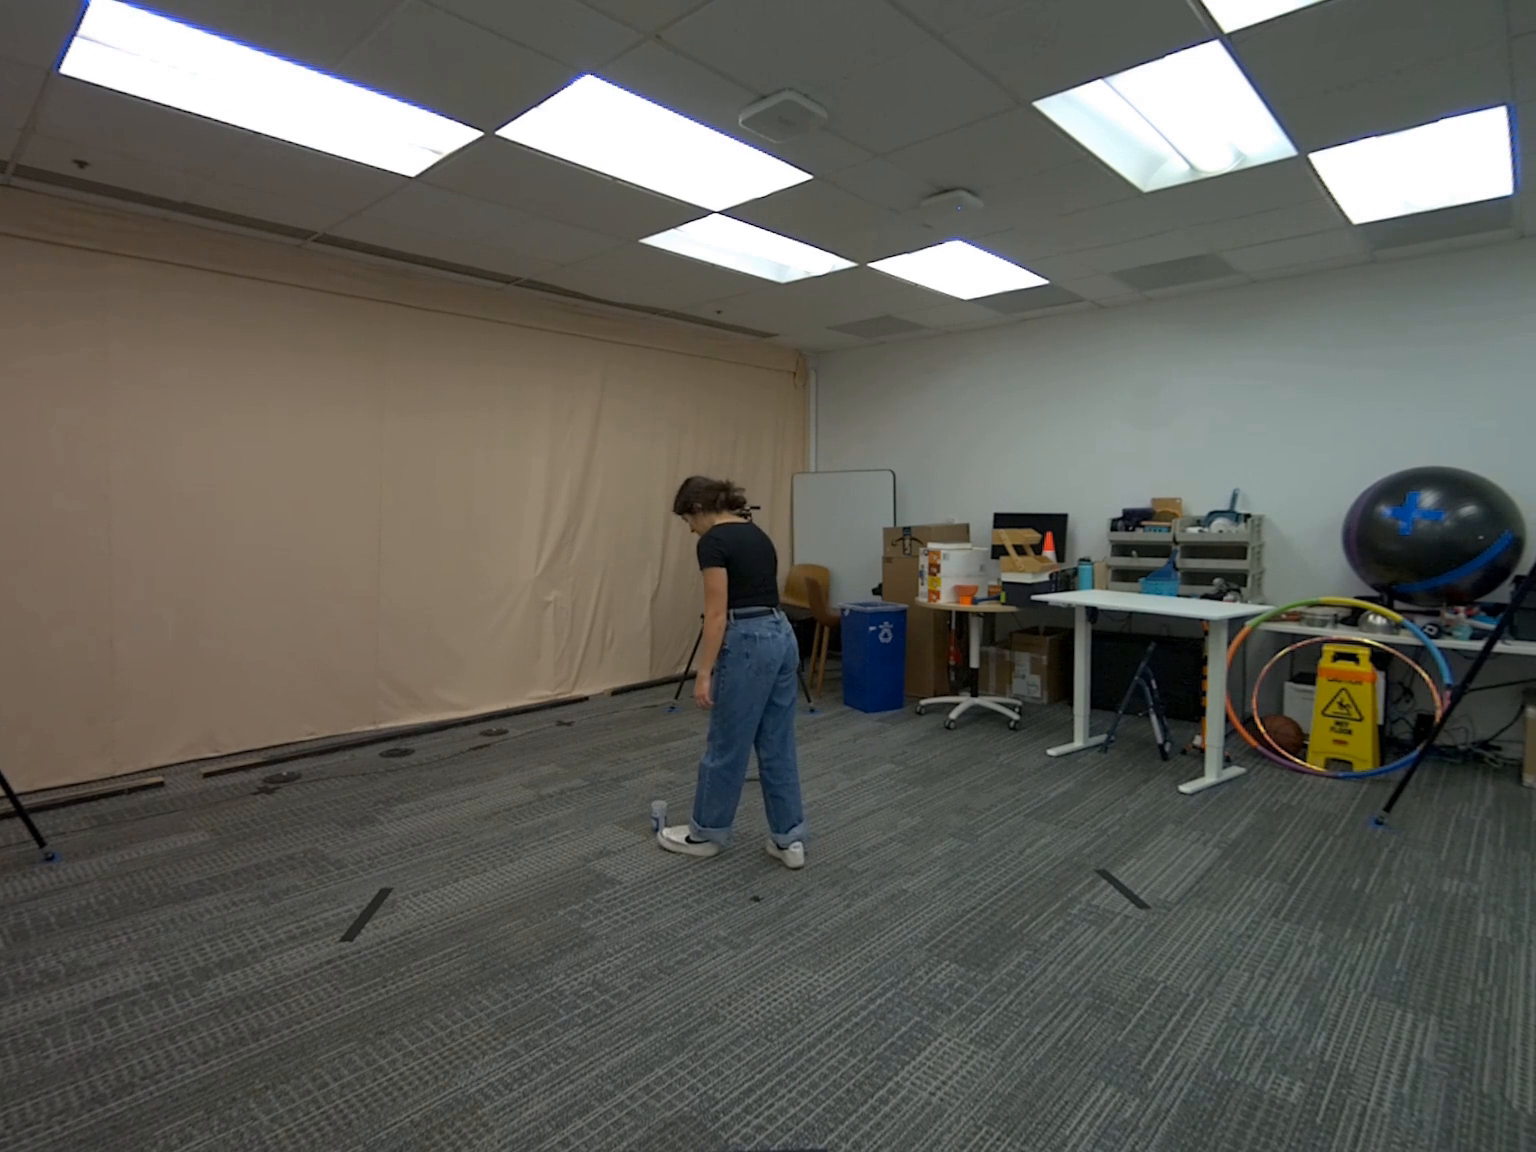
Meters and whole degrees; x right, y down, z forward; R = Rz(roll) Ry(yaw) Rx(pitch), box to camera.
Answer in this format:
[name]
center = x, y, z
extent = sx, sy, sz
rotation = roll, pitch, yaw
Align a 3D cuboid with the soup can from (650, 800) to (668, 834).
[soup can]
center = -0.469, 1.035, 3.625
extent = 0.067, 0.121, 0.067
rotation = 1, 2, -2
